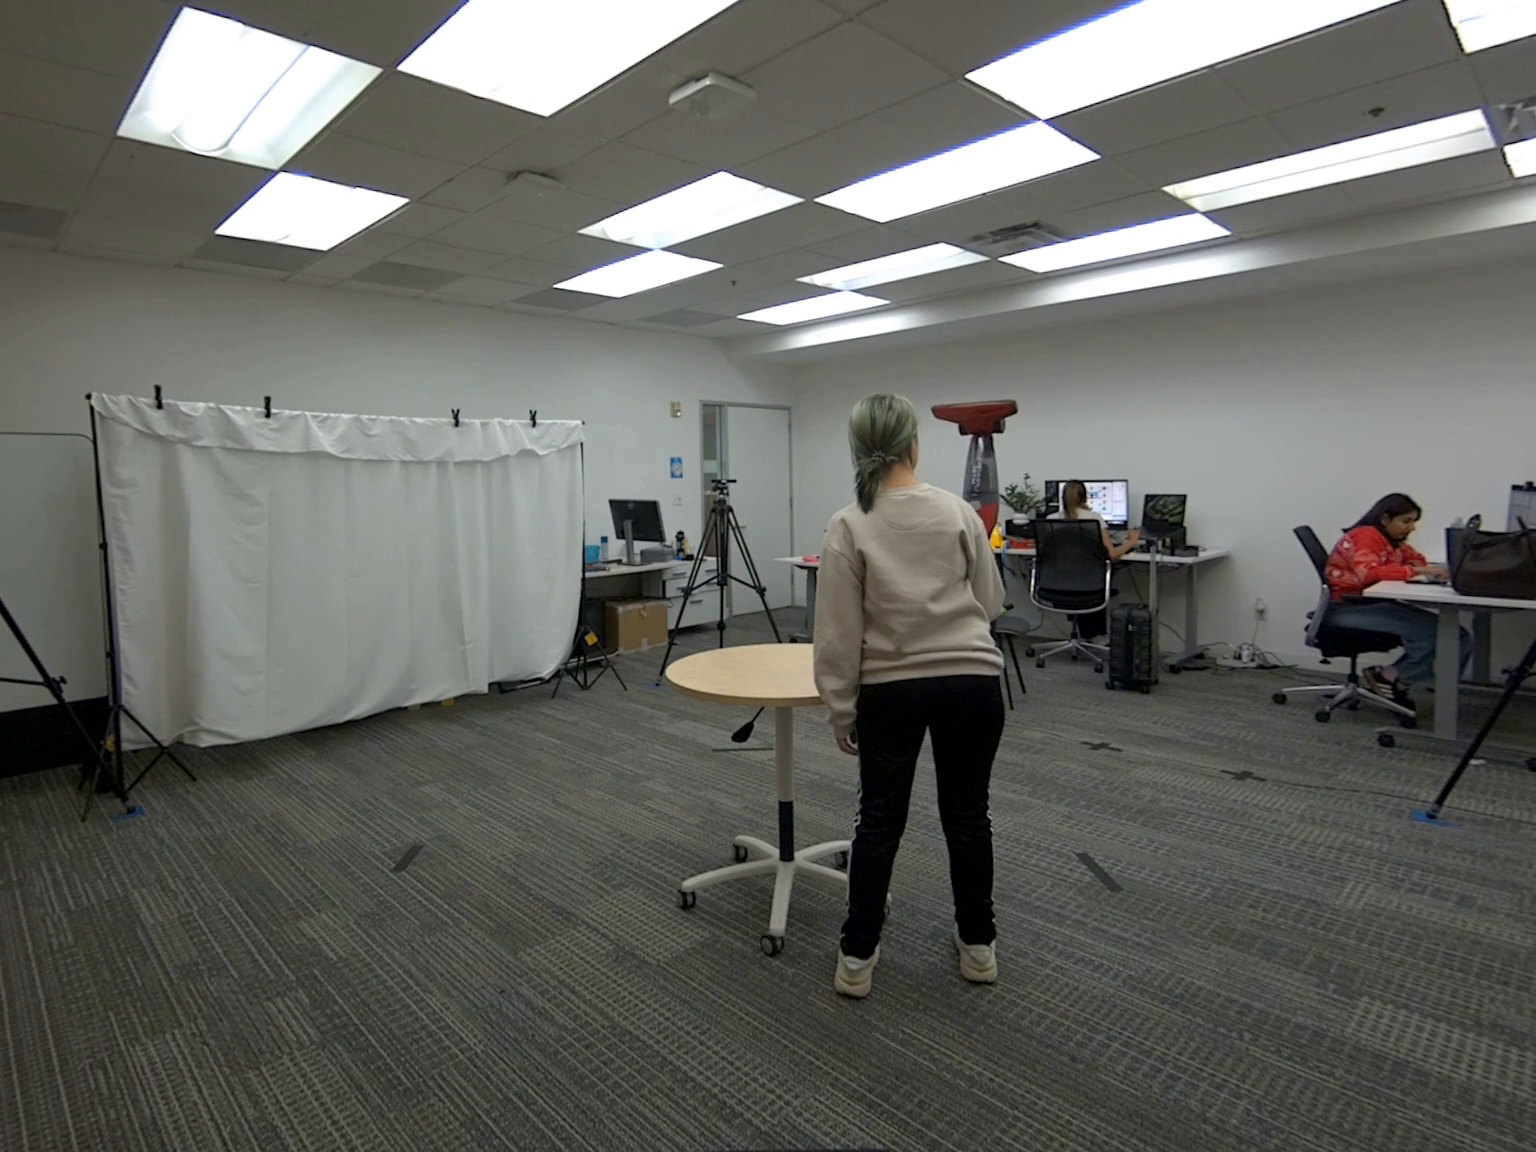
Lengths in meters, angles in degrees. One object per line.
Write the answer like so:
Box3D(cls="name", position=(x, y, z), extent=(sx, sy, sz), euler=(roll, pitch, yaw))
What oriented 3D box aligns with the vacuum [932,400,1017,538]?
Box3D(cls="vacuum", position=(0.667, 0.020, 2.634), extent=(0.260, 1.046, 0.140), euler=(0, 3, 38))
